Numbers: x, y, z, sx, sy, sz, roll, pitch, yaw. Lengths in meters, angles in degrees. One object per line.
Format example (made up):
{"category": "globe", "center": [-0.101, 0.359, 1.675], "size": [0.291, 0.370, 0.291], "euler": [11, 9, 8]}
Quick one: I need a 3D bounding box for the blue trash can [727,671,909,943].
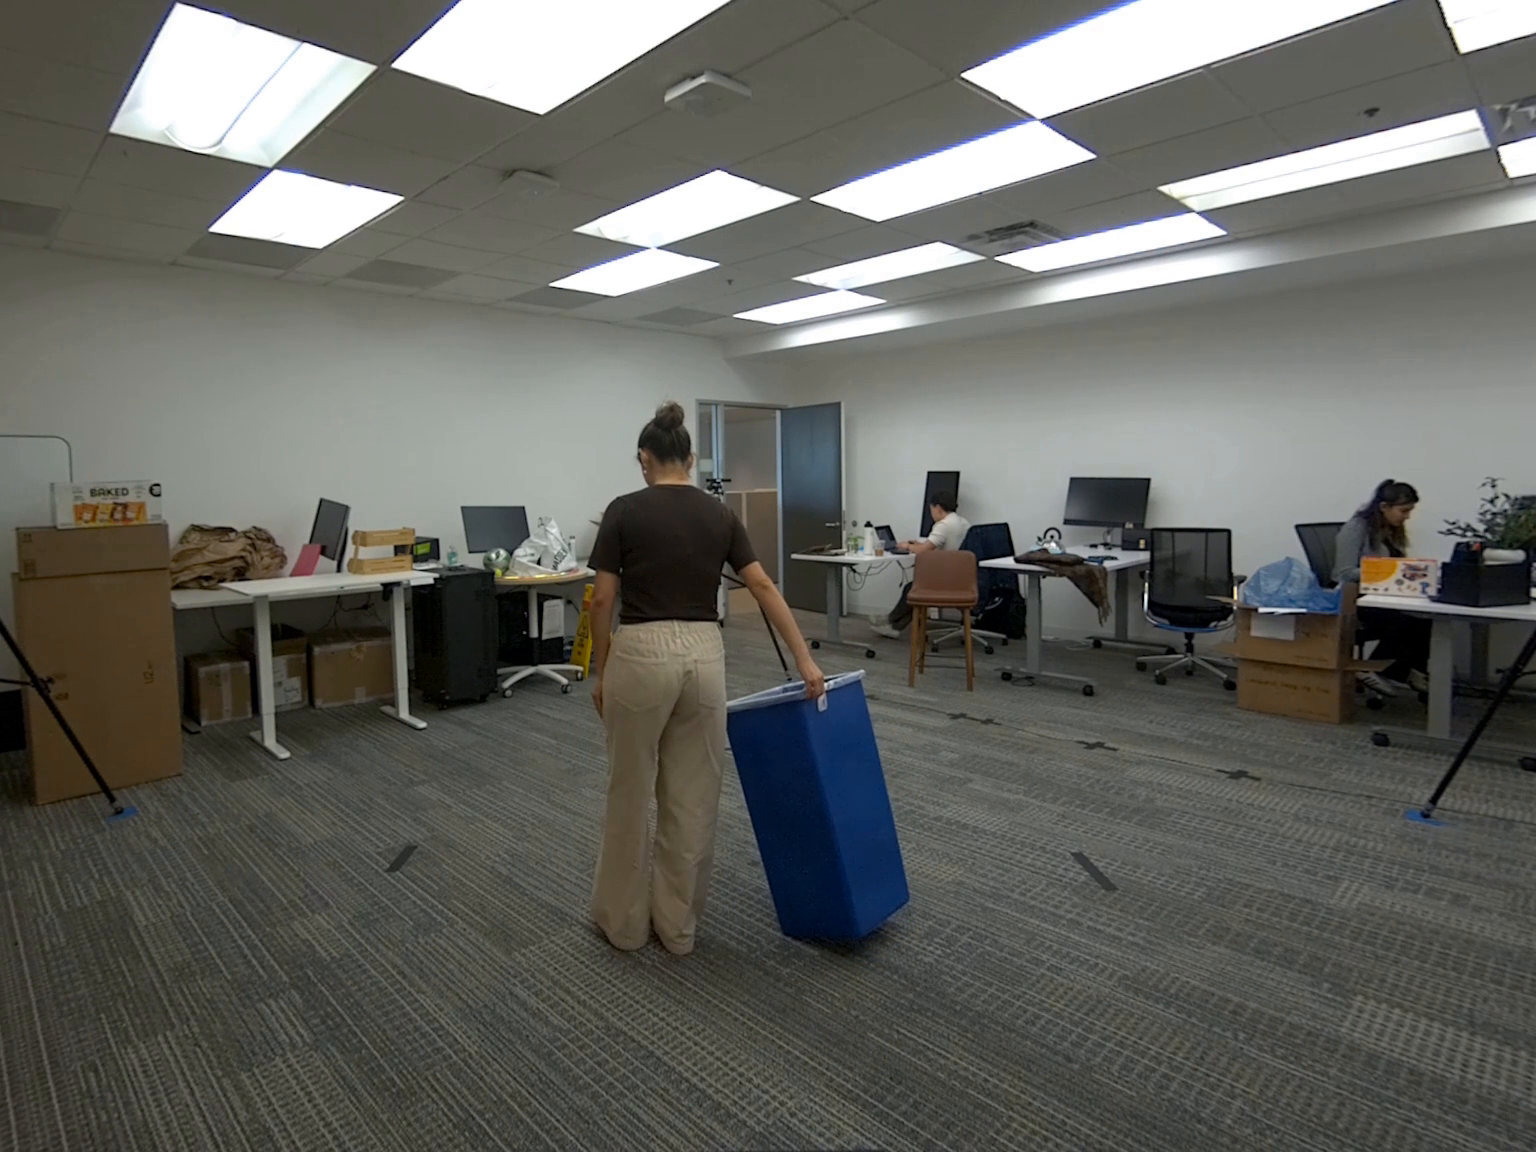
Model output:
{"category": "blue trash can", "center": [0.154, 0.708, 2.687], "size": [0.381, 0.719, 0.368], "euler": [-19, -9, 40]}
